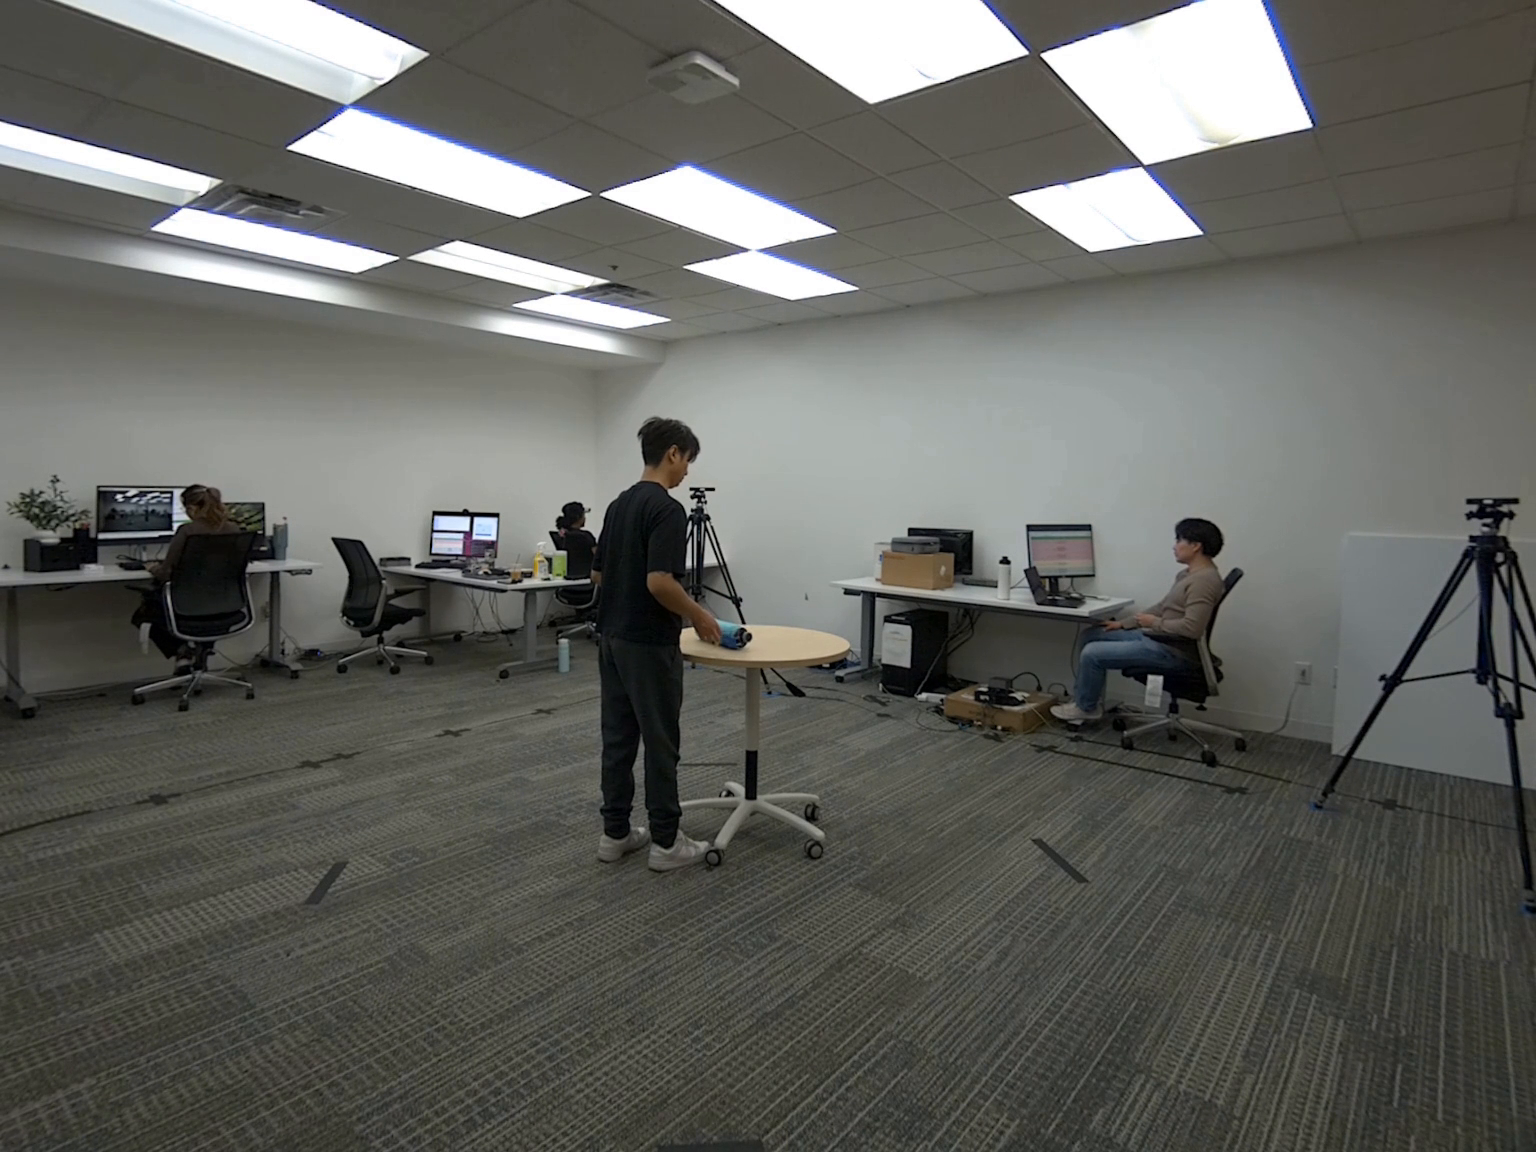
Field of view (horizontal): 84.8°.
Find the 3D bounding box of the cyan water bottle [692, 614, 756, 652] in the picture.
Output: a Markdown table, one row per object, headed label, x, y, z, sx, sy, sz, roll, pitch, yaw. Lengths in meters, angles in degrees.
| label | x | y | z | sx | sy | sz | roll | pitch | yaw |
| --- | --- | --- | --- | --- | --- | --- | --- | --- | --- |
| cyan water bottle | -0.179 | 0.220 | 3.318 | 0.089 | 0.092 | 0.293 | -2 | 8 | -39 |
